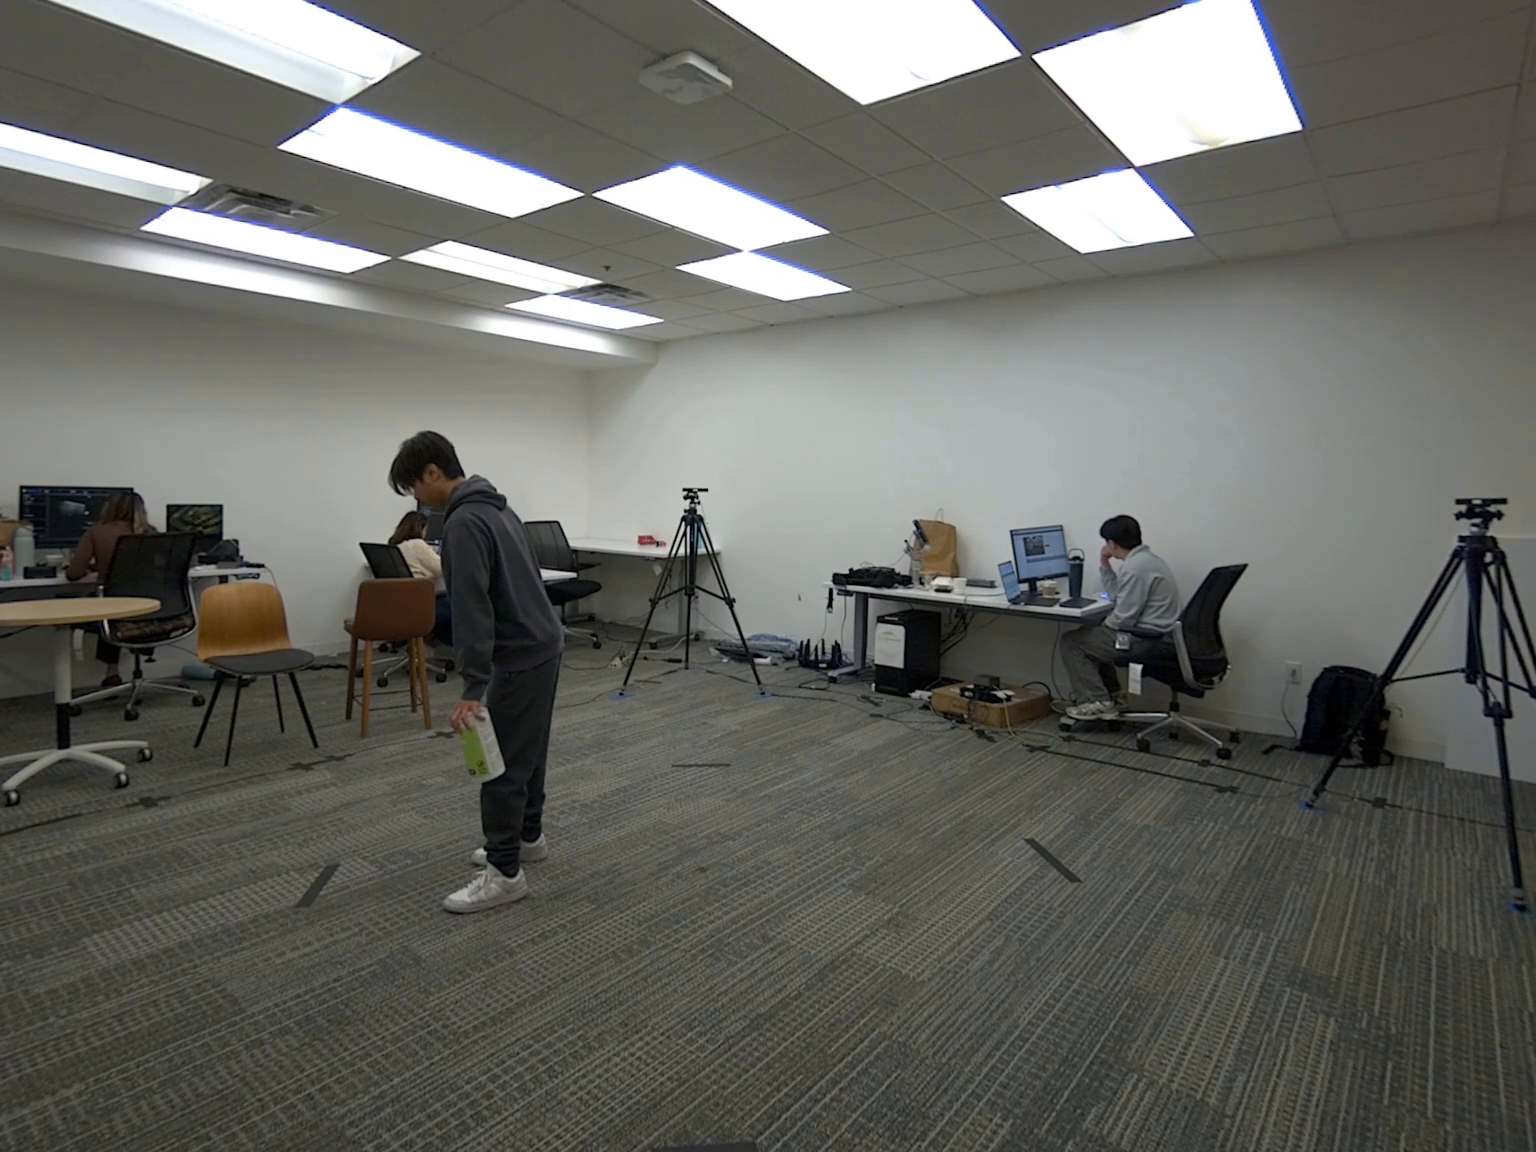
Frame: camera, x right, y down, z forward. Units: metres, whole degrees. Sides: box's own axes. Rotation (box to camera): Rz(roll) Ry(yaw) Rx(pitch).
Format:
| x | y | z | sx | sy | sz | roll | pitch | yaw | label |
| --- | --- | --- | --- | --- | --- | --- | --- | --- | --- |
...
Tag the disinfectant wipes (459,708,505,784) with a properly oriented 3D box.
| x | y | z | sx | sy | sz | roll | pitch | yaw | label |
| --- | --- | --- | --- | --- | --- | --- | --- | --- | --- |
| -0.946 | 0.543 | 2.744 | 0.118 | 0.216 | 0.119 | -15 | 7 | 0 | disinfectant wipes |
